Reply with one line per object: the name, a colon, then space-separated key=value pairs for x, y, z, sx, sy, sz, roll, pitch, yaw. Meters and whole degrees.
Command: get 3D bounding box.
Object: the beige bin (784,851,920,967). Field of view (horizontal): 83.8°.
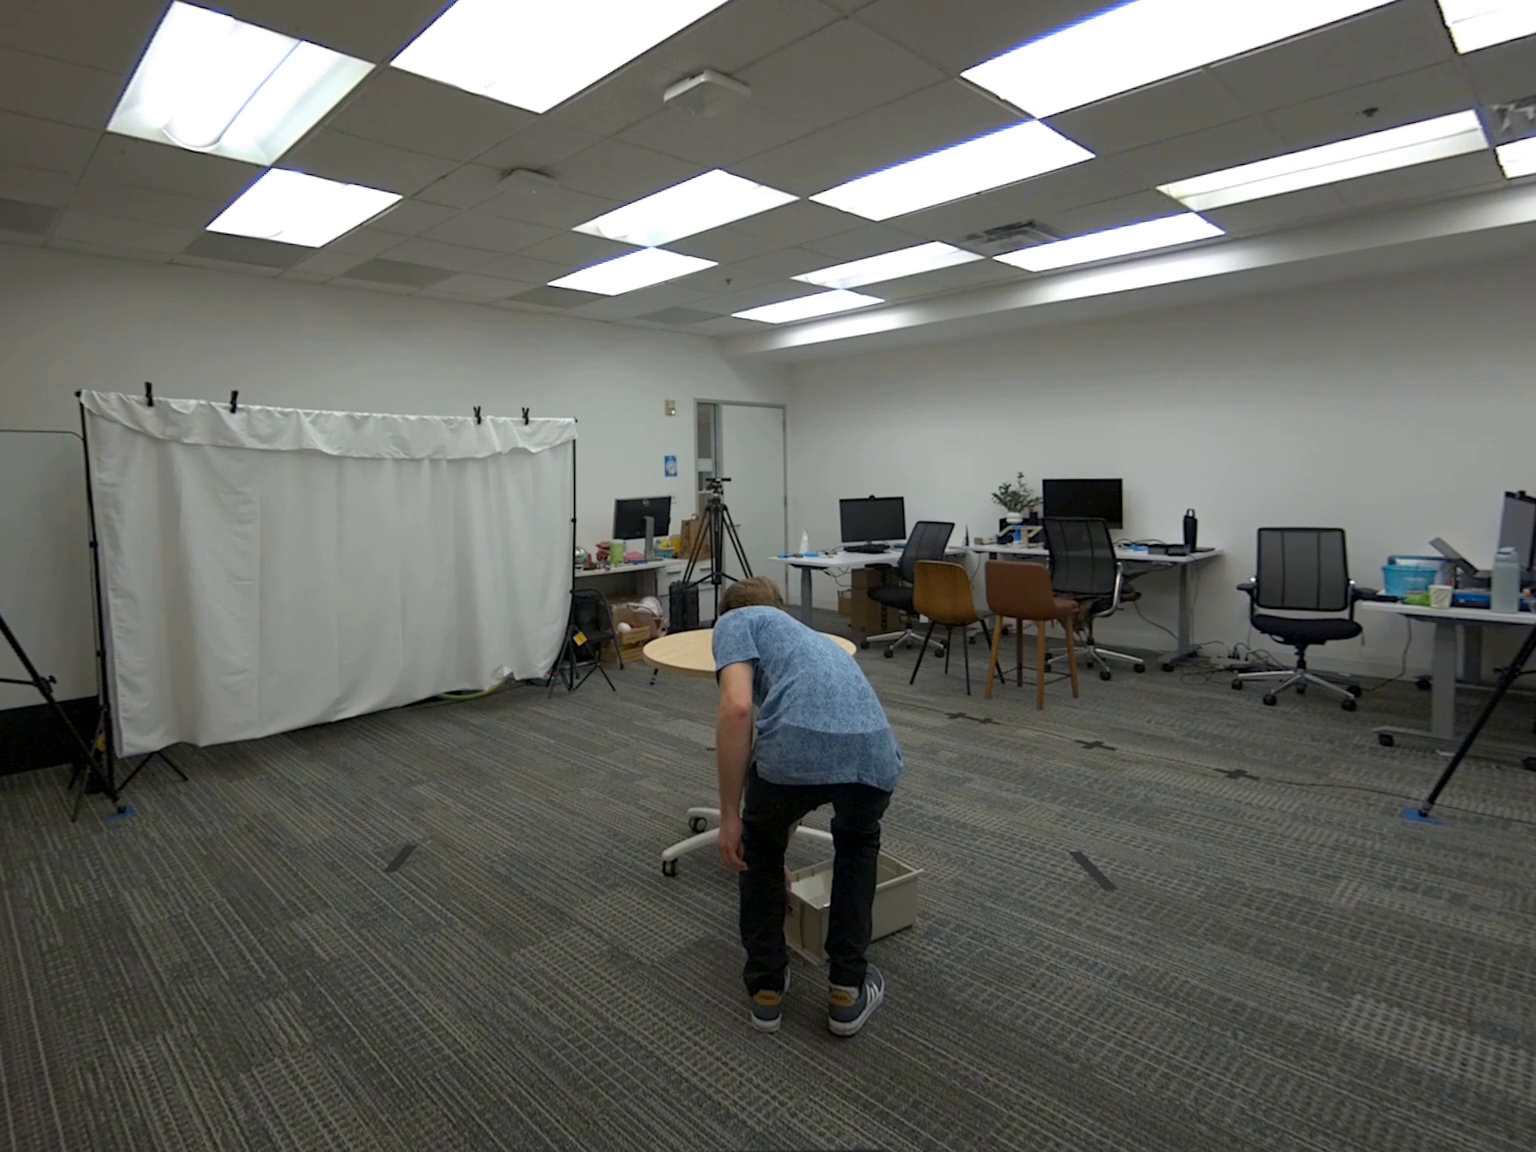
beige bin: x=0.209 y=0.999 z=2.685 sx=0.412 sy=0.188 sz=0.389 roll=-4 pitch=8 yaw=-35
